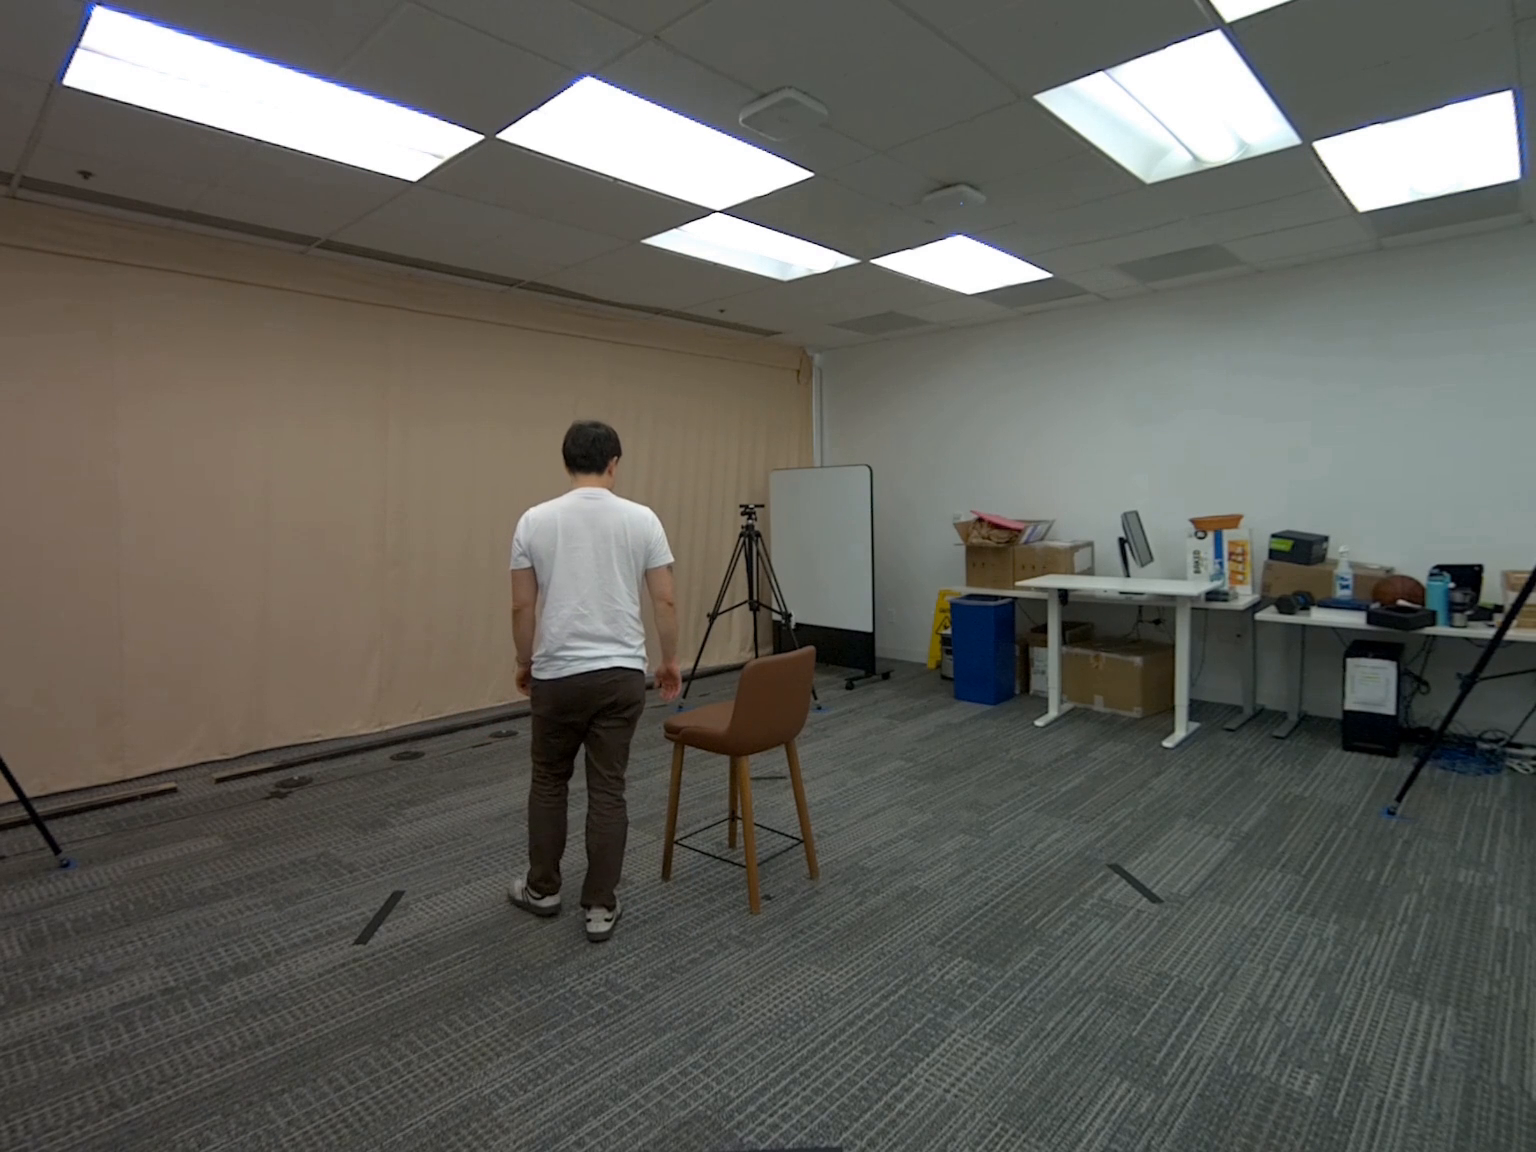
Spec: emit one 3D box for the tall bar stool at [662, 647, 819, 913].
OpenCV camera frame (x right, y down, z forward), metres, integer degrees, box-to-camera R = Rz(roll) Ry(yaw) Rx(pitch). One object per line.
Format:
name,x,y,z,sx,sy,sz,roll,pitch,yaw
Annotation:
tall bar stool,-0.103,0.696,3.119,0.483,0.887,0.443,4,6,40
